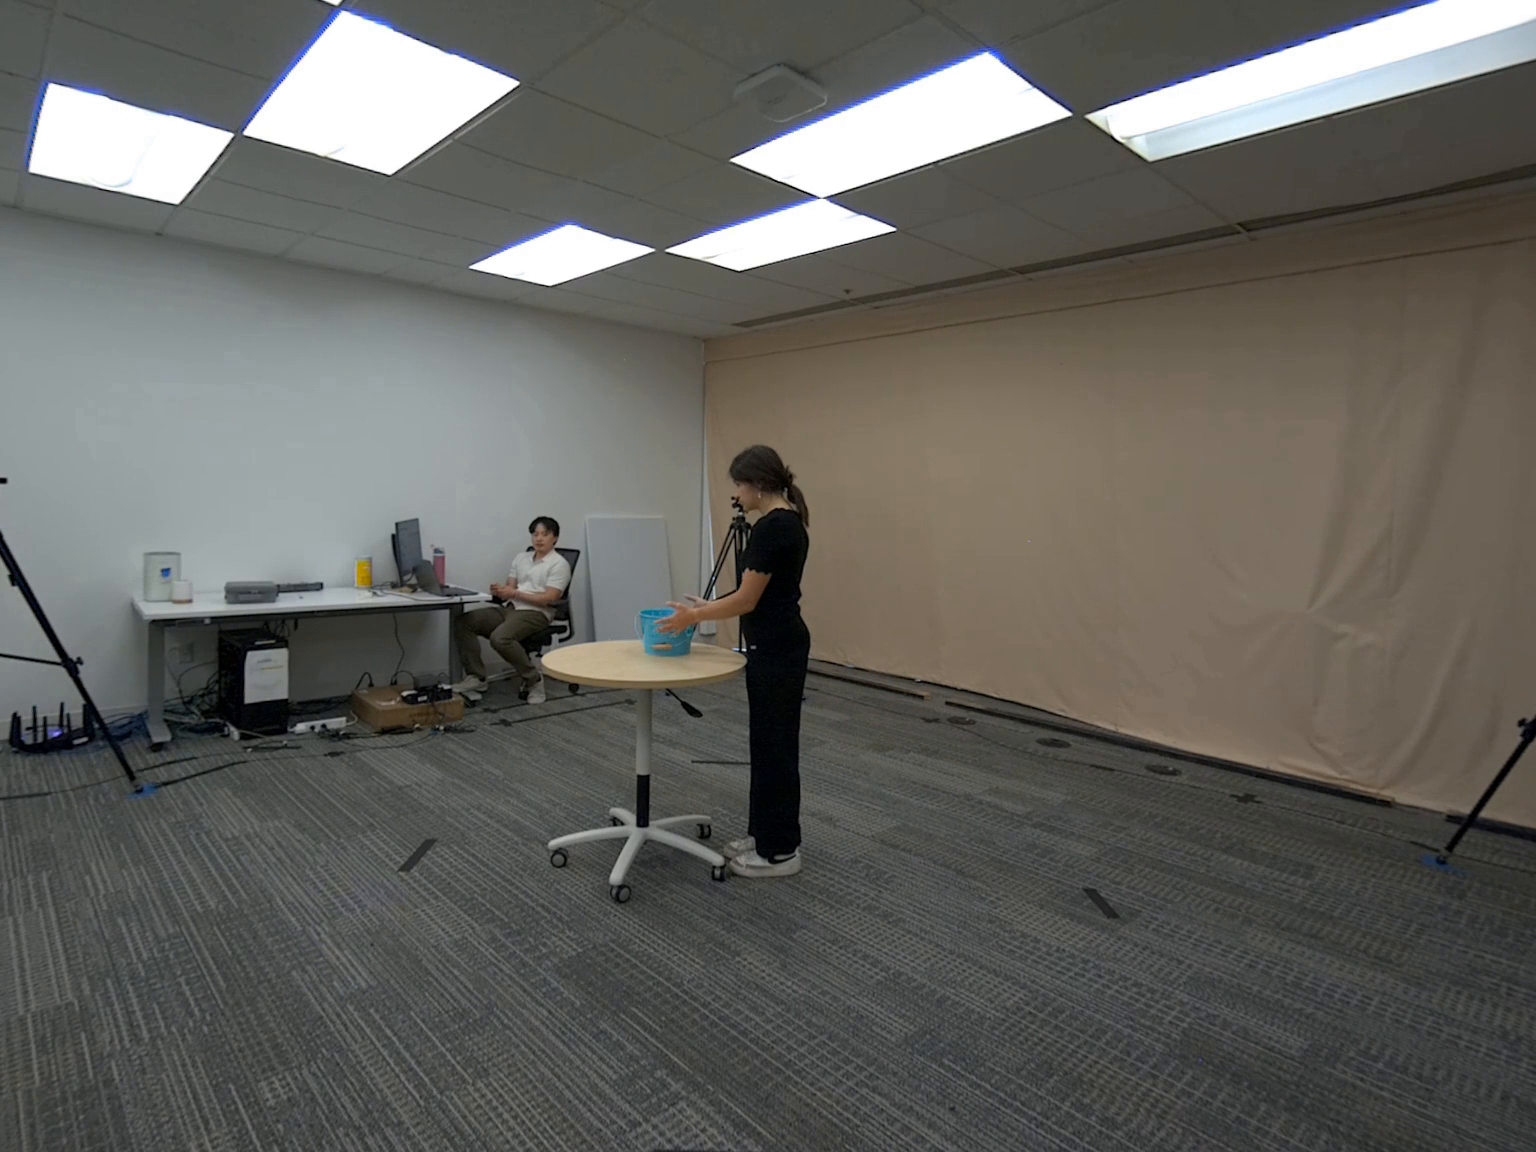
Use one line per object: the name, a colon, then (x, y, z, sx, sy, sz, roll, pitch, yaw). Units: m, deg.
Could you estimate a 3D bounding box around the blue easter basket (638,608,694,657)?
blue easter basket: (-0.406, 0.220, 3.299, 0.243, 0.155, 0.244, 1, 3, -1)
